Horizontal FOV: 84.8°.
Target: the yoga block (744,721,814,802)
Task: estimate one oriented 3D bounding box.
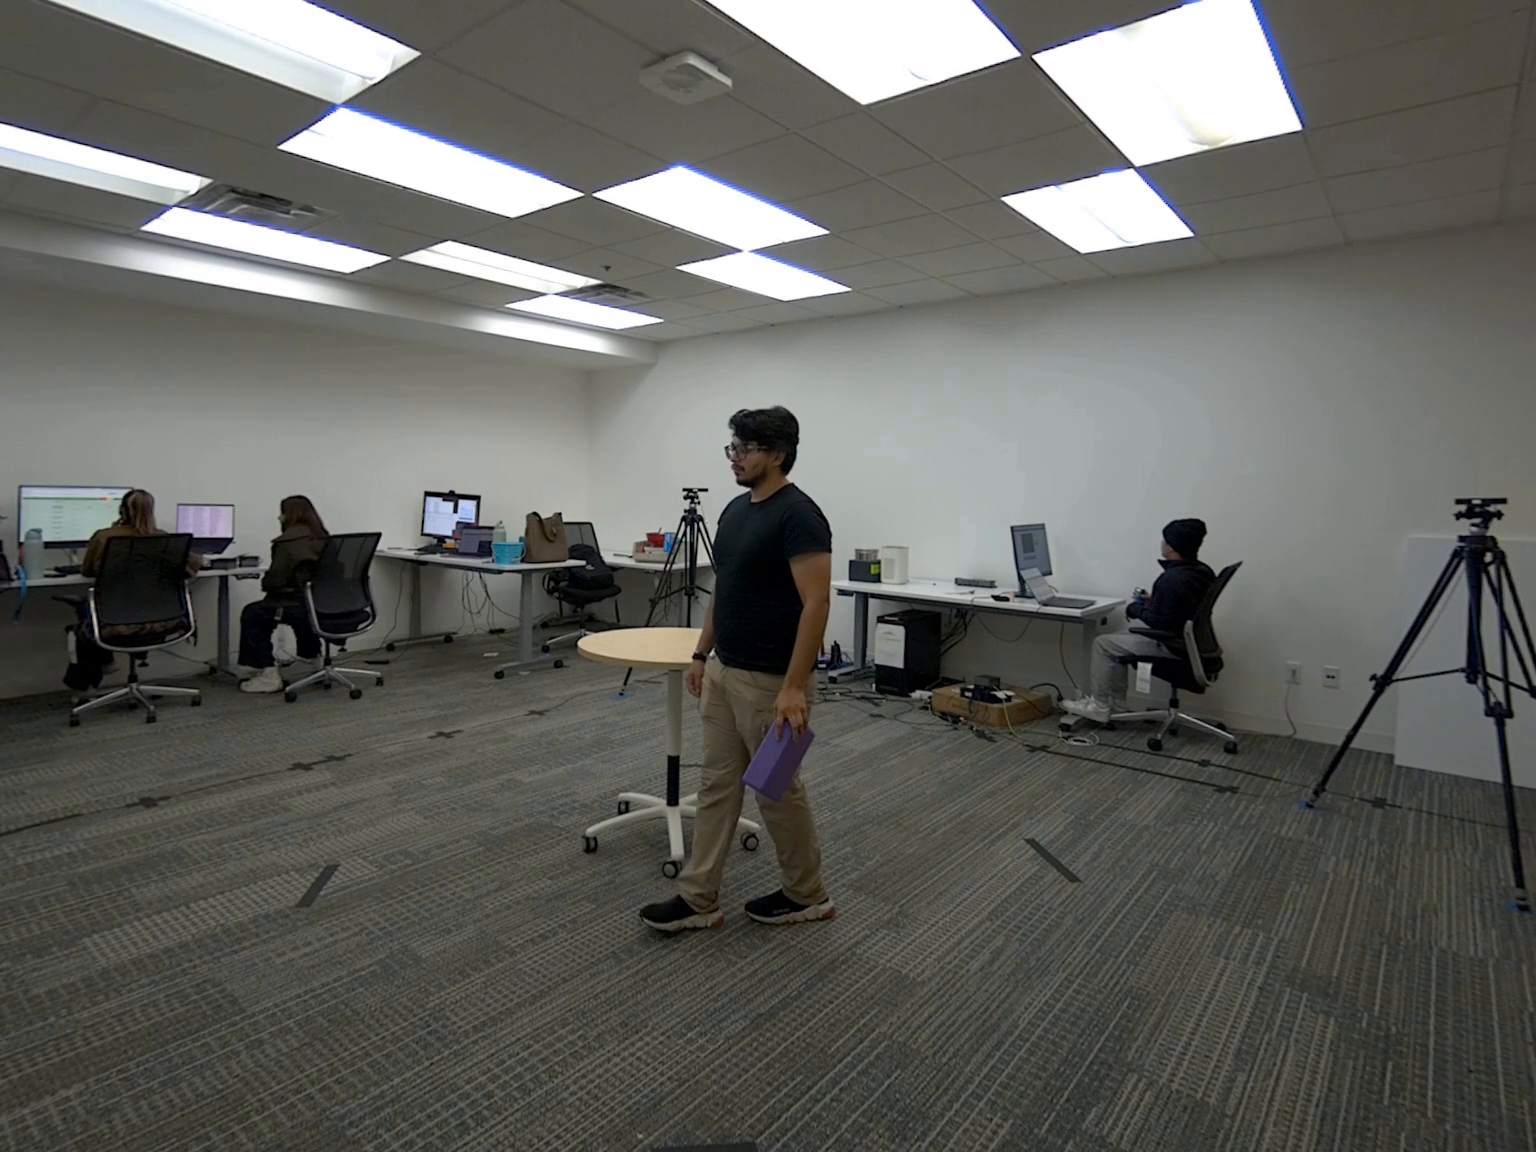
[{"bbox_3d":[0.020,0.509,2.418,0.079,0.230,0.143,24,-15,32],"label":"yoga block"}]
